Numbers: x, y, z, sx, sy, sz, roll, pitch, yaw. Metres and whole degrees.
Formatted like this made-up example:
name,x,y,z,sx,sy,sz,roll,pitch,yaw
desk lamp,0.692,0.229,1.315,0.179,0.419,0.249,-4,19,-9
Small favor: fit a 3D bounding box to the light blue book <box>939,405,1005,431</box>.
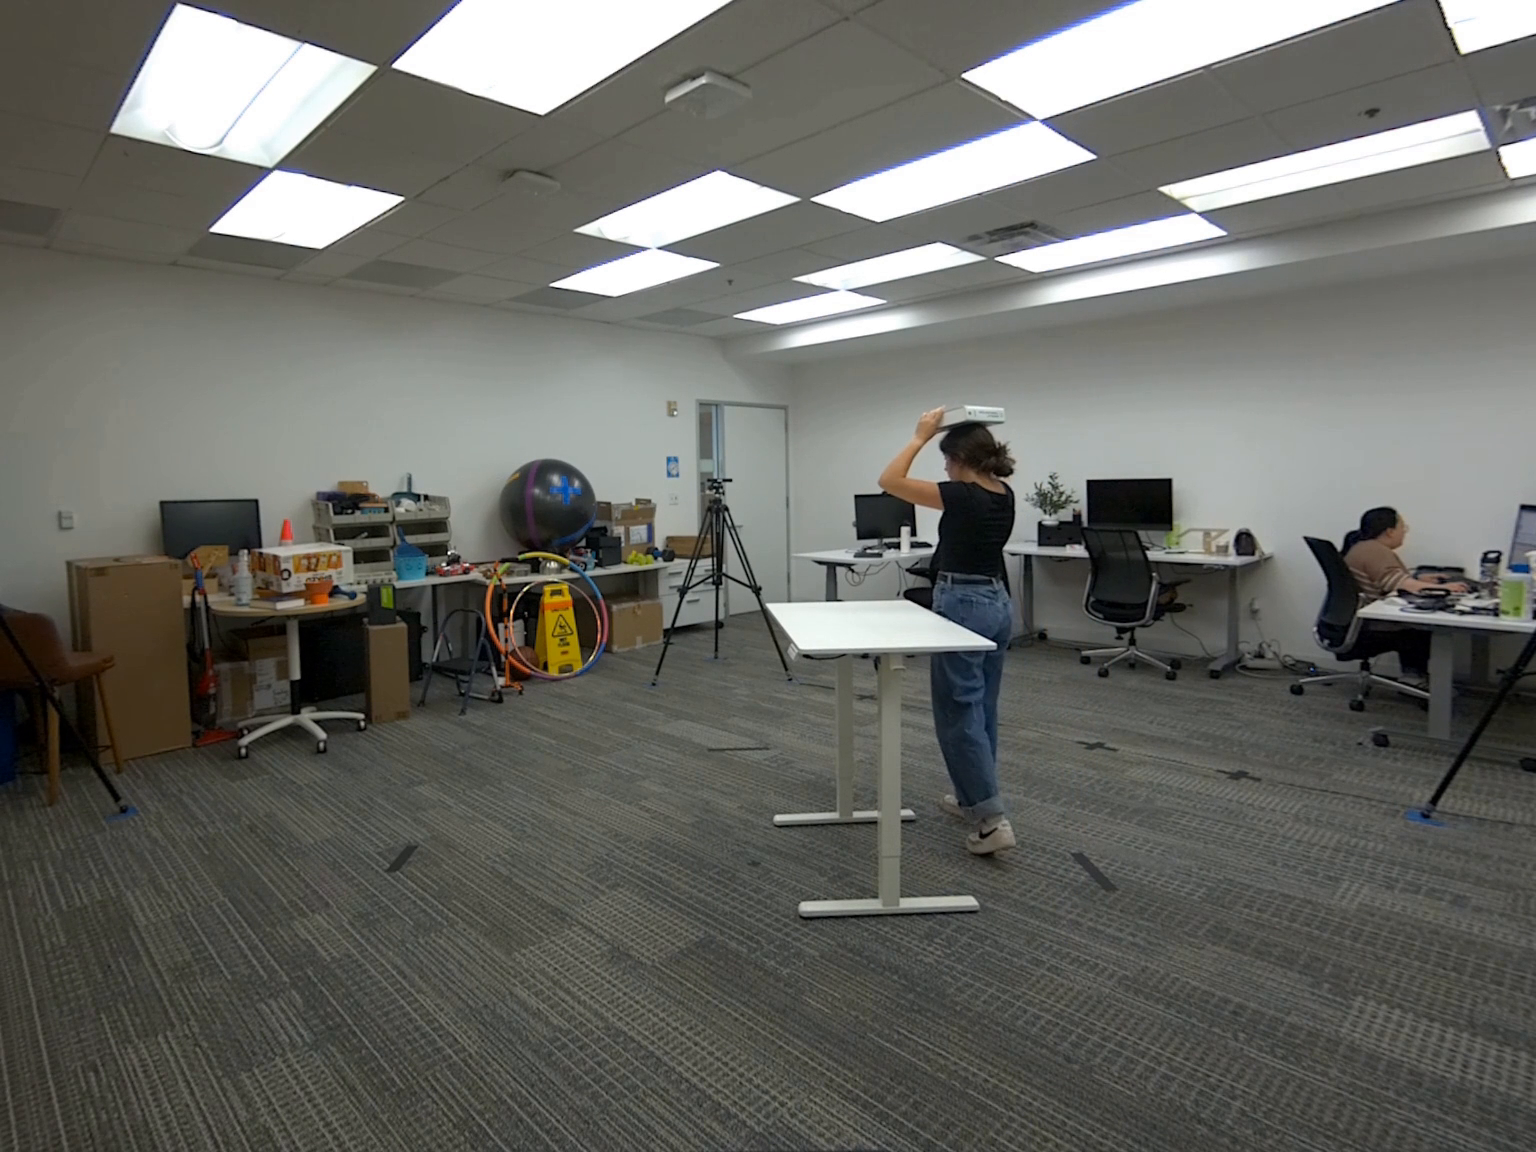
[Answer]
name,x,y,z,sx,sy,sz,roll,pitch,yaw
light blue book,0.775,-0.611,3.324,0.254,0.059,0.196,-6,1,-41
